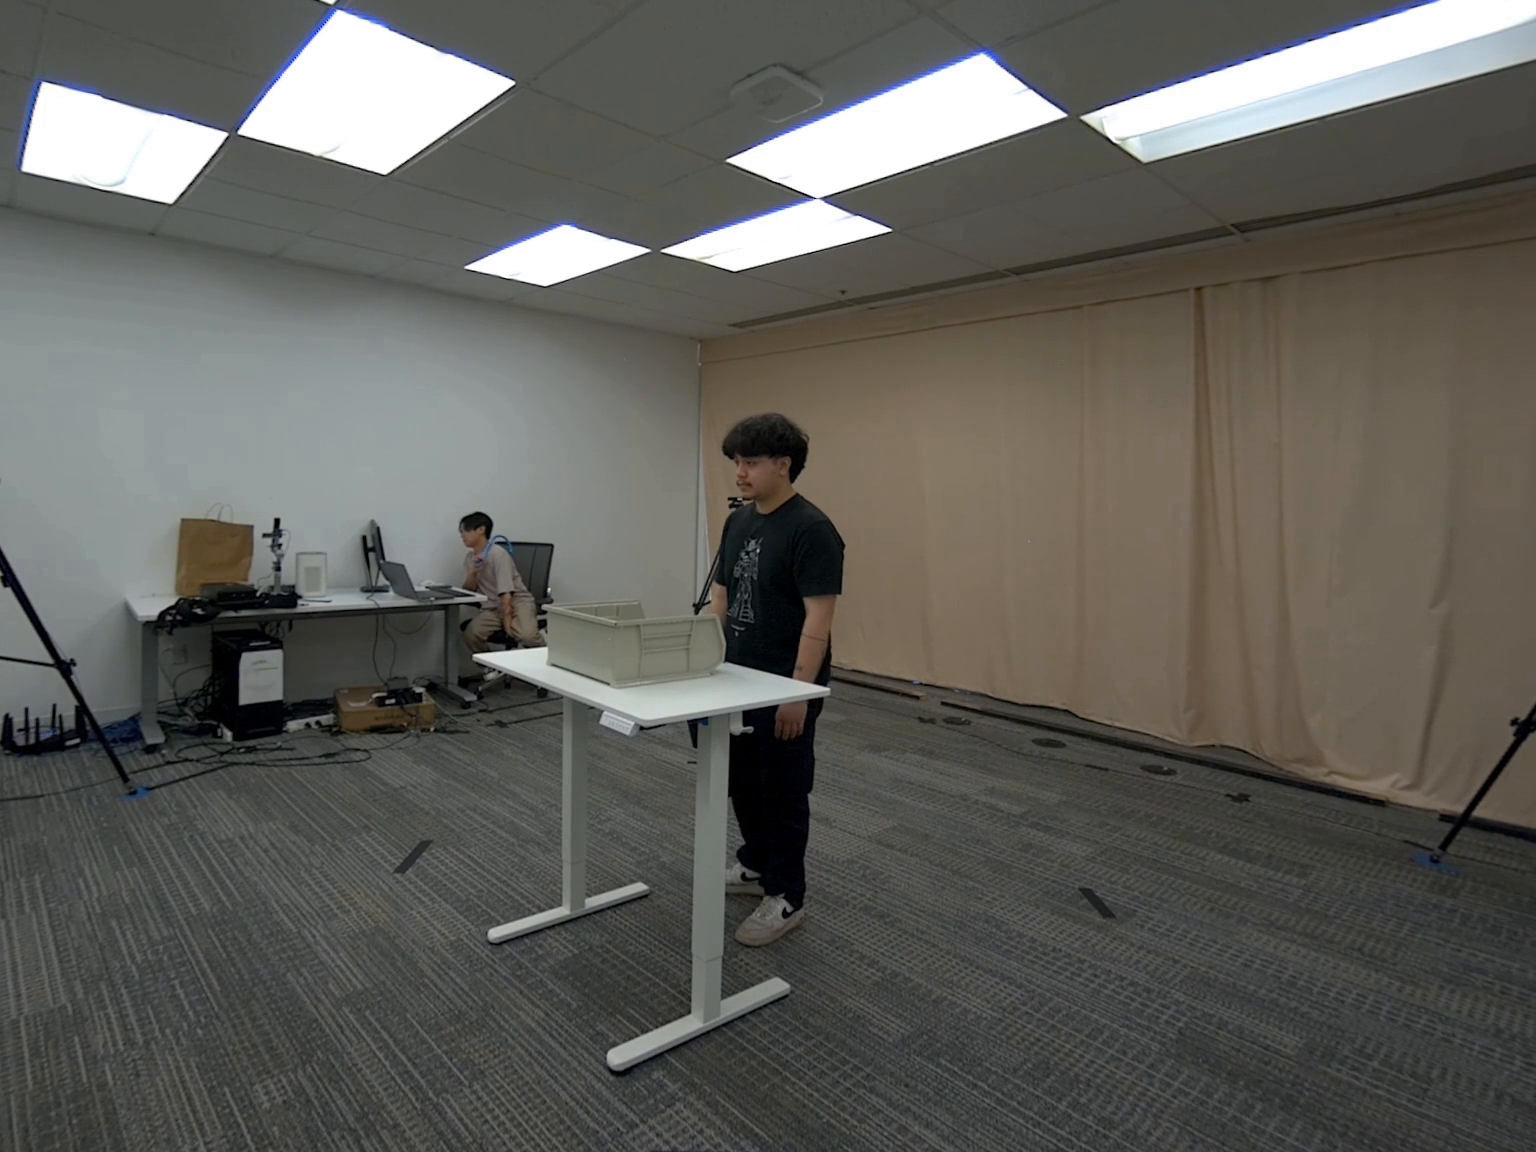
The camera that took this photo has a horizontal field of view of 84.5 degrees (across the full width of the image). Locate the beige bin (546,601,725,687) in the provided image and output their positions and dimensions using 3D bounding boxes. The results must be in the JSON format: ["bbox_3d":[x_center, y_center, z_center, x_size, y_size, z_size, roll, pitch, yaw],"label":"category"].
[{"bbox_3d":[-0.402,0.189,2.476,0.369,0.188,0.433,-3,7,-39],"label":"beige bin"}]
